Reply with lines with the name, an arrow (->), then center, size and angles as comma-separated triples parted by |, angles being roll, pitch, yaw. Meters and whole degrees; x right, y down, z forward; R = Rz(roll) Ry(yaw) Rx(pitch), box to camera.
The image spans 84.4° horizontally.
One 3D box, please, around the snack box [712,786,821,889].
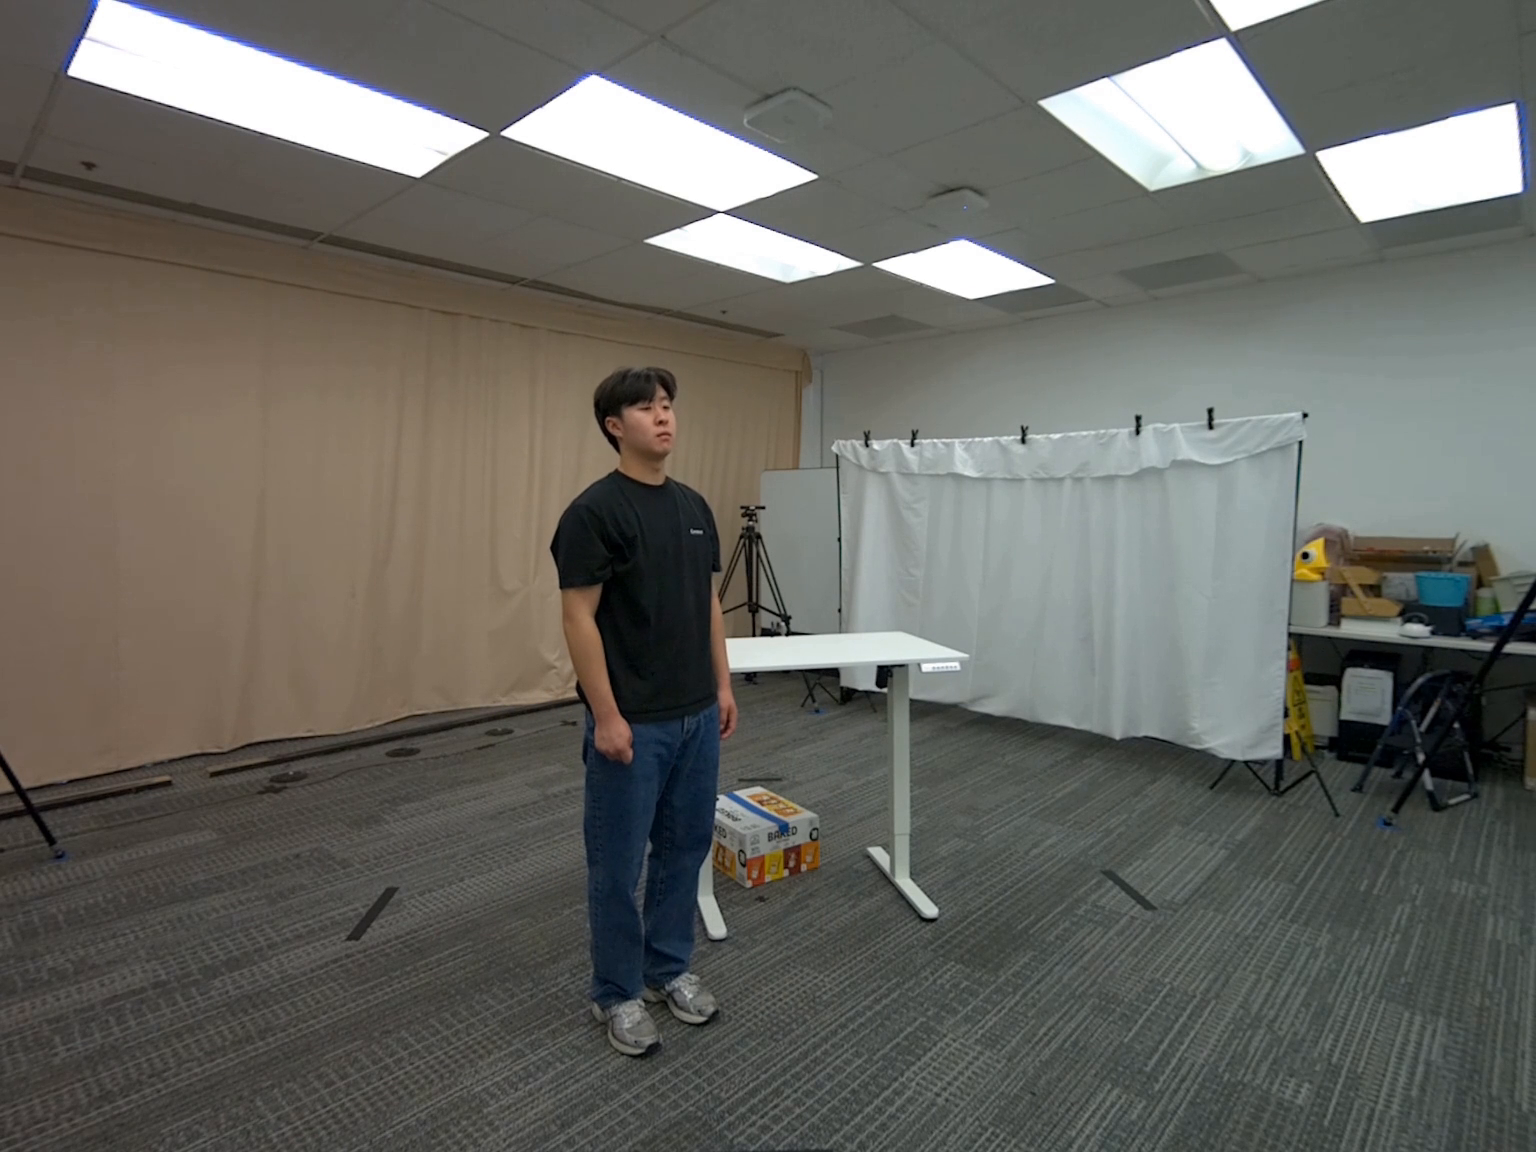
snack box -> -0.058, 1.015, 3.312 | 0.331, 0.205, 0.418 | -3, 6, -33
